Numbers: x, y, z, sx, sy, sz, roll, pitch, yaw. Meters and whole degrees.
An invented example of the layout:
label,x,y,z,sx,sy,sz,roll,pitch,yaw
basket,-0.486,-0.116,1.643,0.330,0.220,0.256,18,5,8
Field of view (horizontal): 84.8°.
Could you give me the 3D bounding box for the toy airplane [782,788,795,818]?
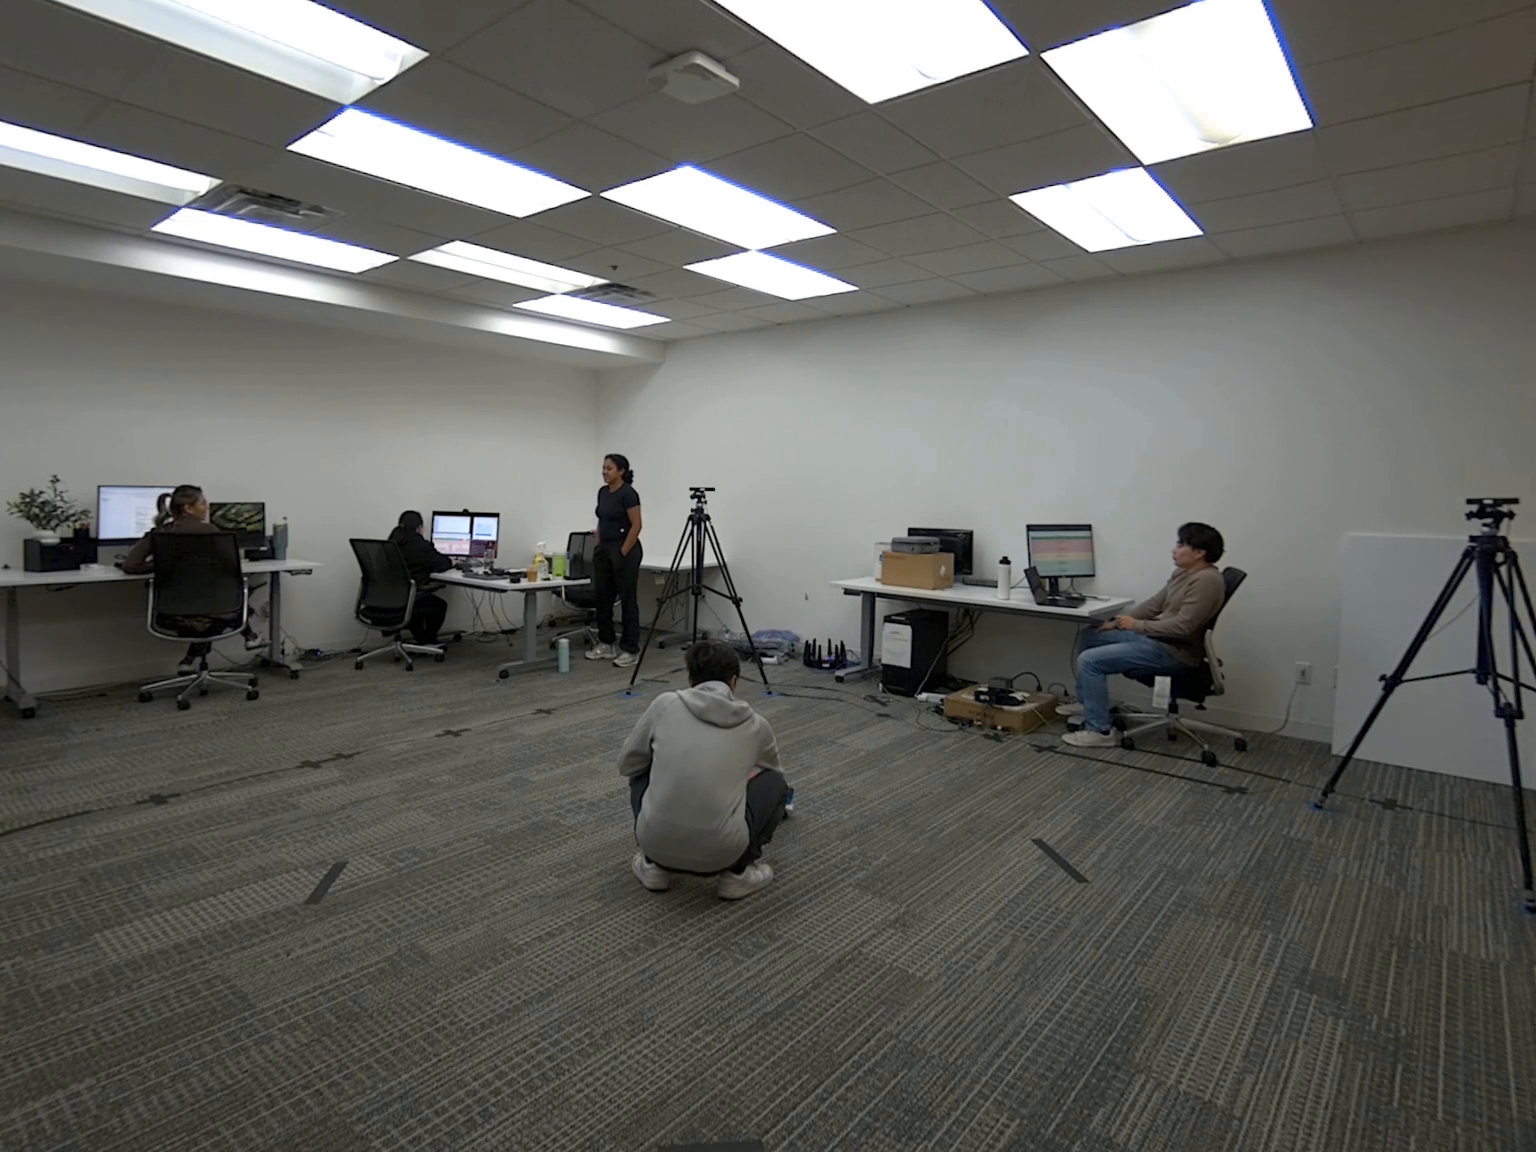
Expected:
label,x,y,z,sx,sy,sz,roll,pitch,yaw
toy airplane,-0.037,0.940,3.634,0.252,0.156,0.259,-2,7,-30
